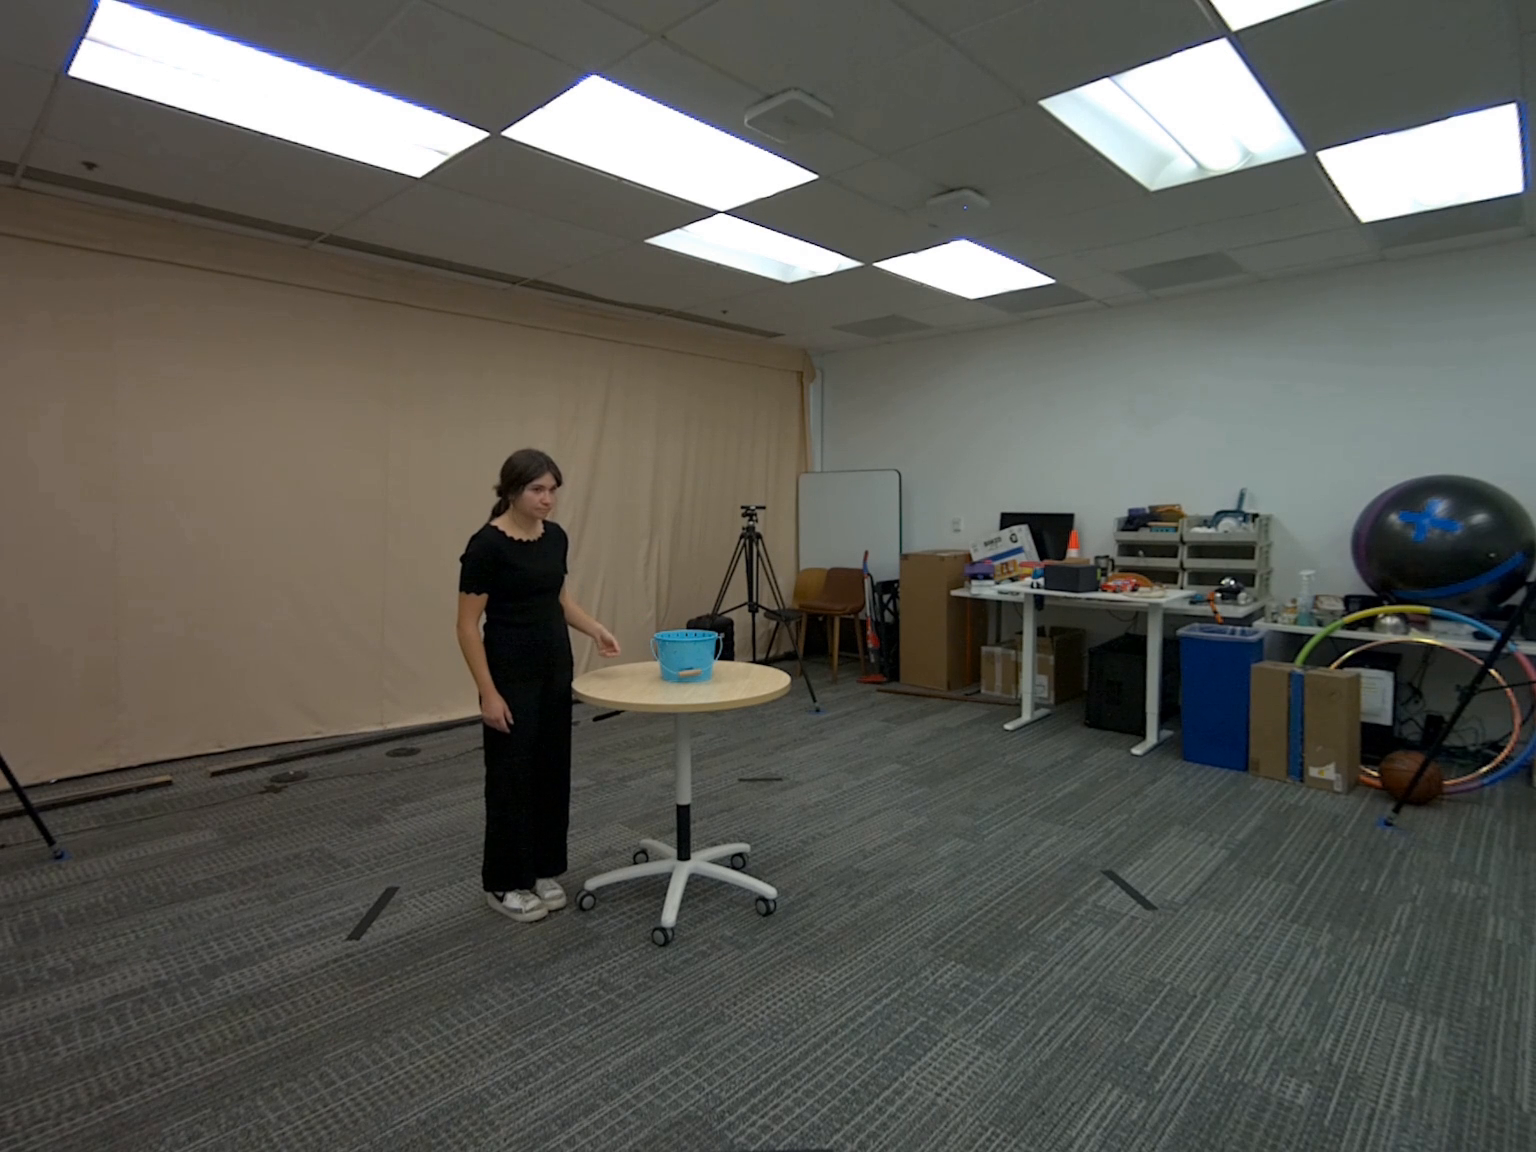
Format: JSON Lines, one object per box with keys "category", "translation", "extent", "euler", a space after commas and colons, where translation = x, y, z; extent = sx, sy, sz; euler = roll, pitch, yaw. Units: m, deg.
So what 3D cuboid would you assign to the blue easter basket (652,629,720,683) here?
{"category": "blue easter basket", "translation": [-0.295, 0.289, 2.987], "extent": [0.243, 0.155, 0.244], "euler": [-3, 5, -2]}
